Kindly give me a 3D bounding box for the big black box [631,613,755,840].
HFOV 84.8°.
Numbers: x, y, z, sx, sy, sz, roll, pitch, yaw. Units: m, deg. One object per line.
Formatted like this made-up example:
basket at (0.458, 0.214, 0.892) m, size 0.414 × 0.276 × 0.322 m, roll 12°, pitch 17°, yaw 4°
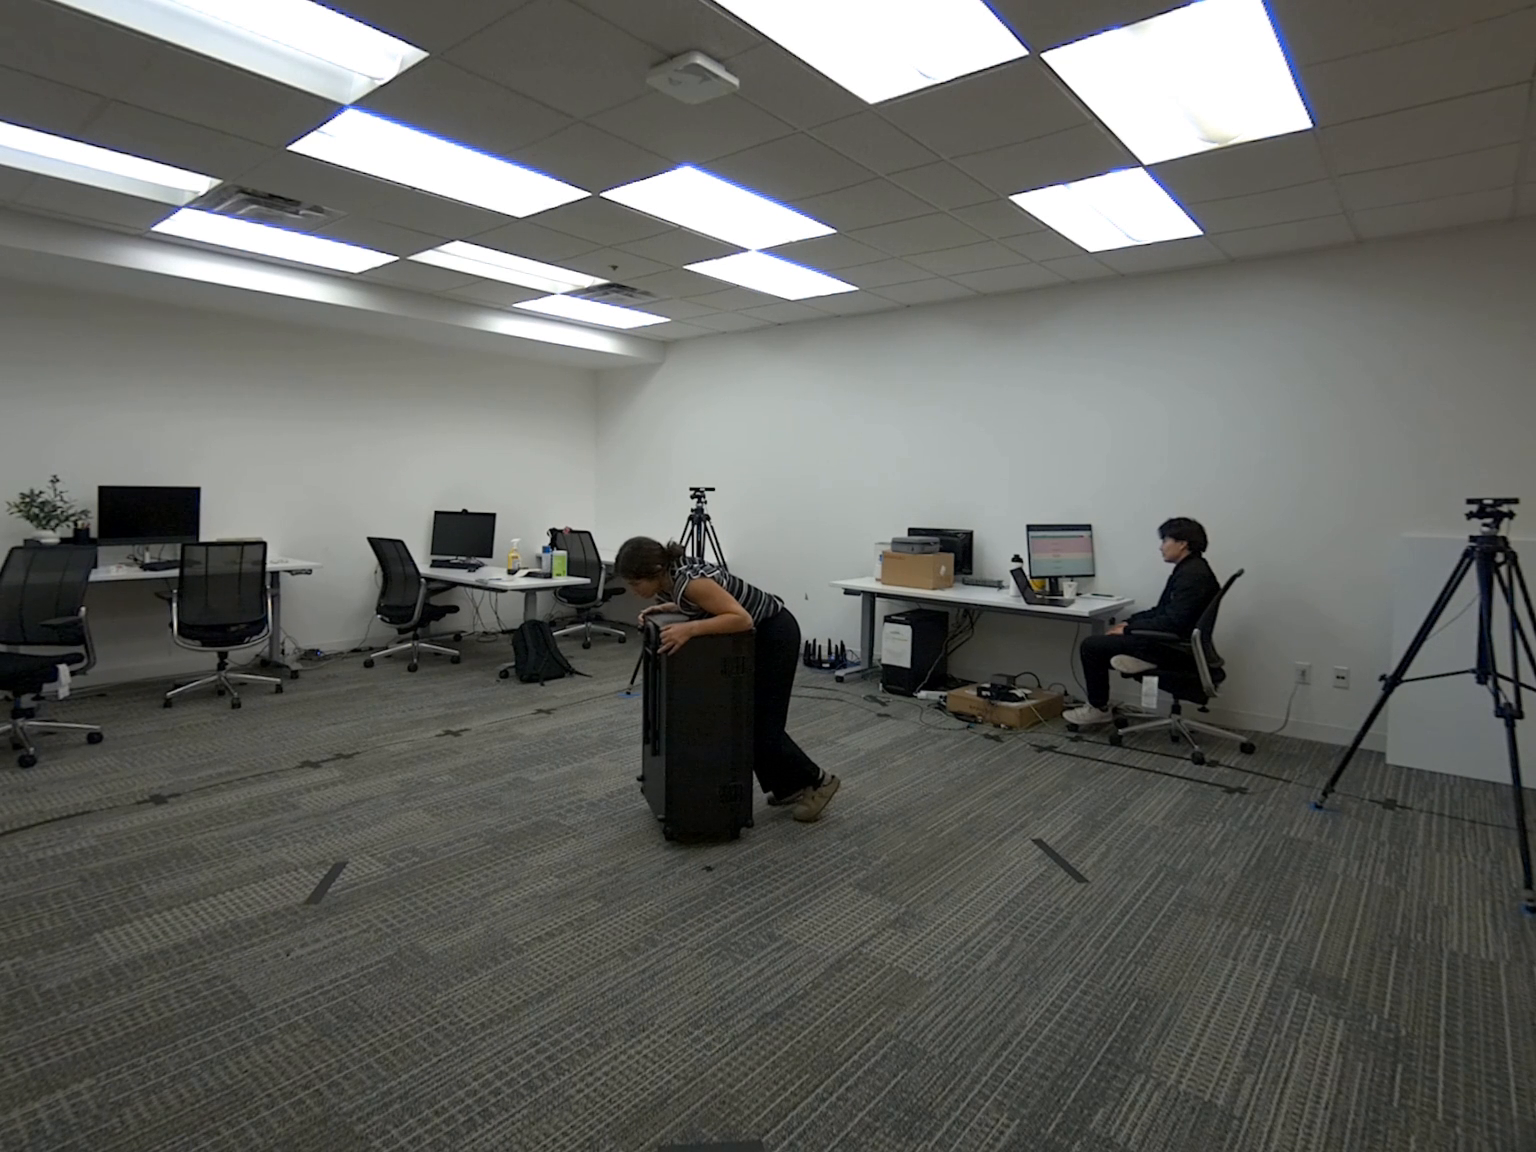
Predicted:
big black box at (-0.322, 0.611, 3.471) m, size 0.390 × 0.858 × 0.532 m, roll -1°, pitch 4°, yaw -17°
